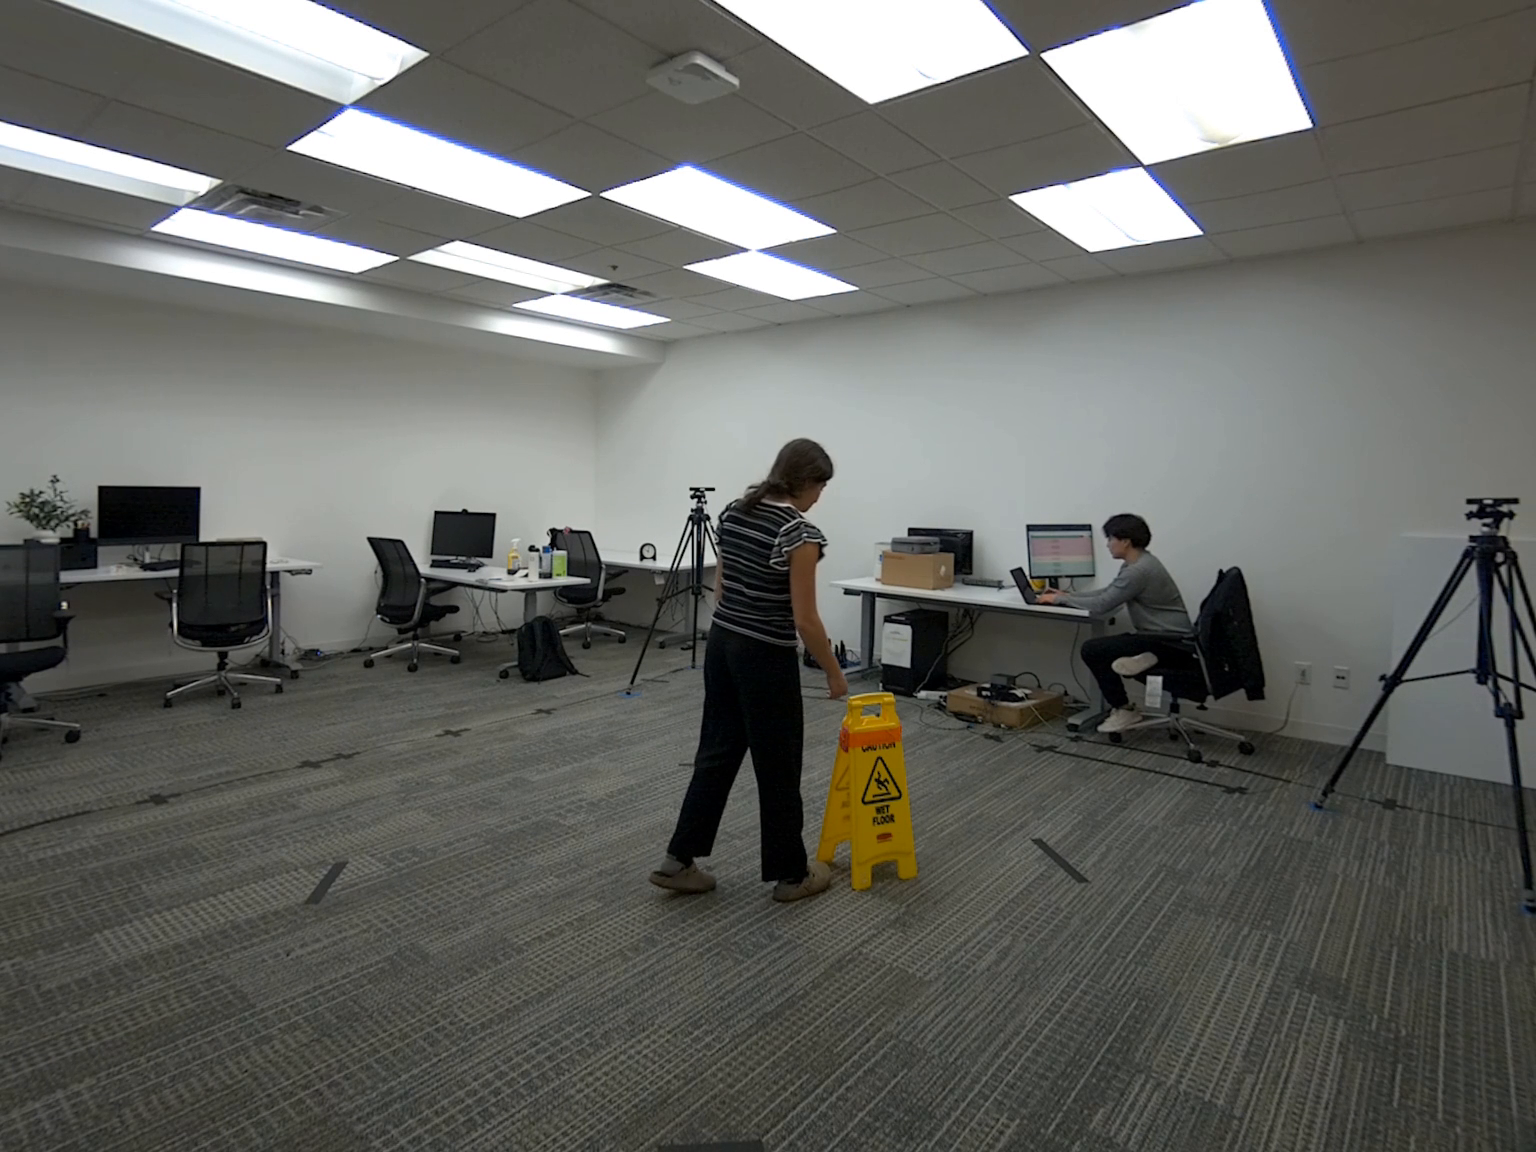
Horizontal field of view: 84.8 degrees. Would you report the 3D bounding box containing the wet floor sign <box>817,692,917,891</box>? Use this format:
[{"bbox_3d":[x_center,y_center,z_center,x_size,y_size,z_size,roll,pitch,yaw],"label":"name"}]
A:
[{"bbox_3d":[0.364,0.755,3.113,0.275,0.644,0.298,0,4,-28],"label":"wet floor sign"}]
